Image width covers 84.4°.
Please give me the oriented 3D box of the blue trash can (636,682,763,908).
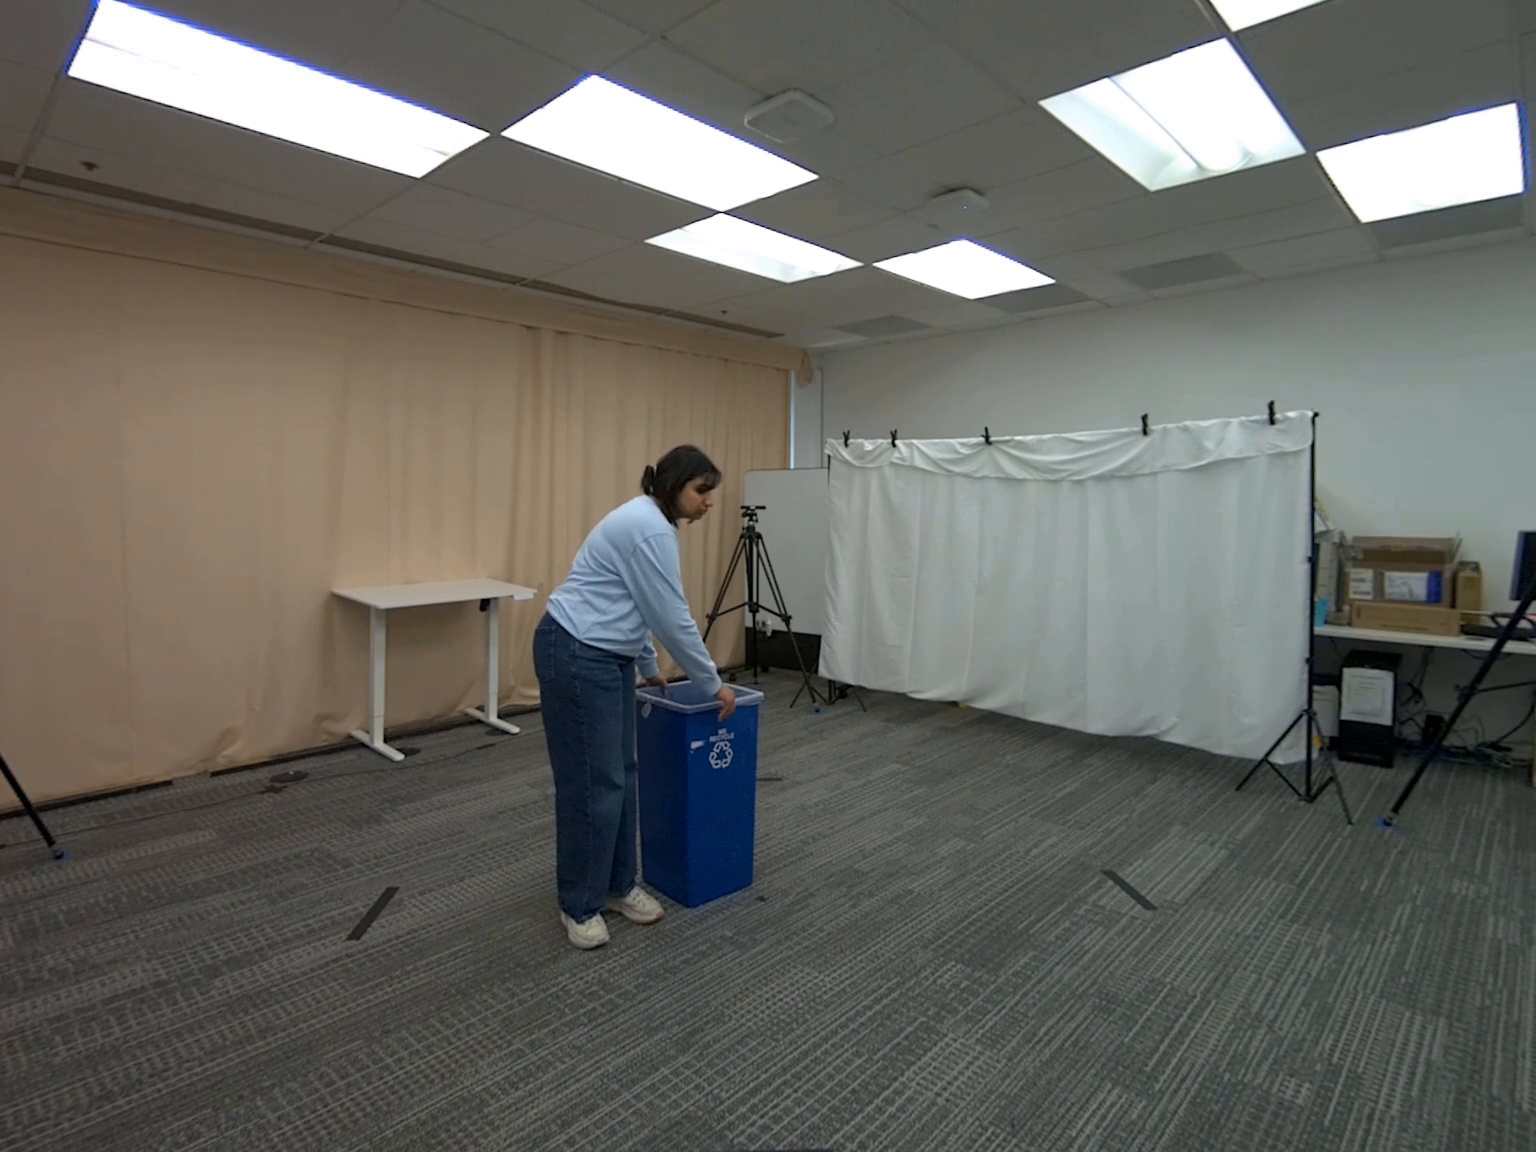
[{"bbox_3d":[-0.257,0.777,3.103,0.363,0.712,0.390,-3,5,-40],"label":"blue trash can"}]
